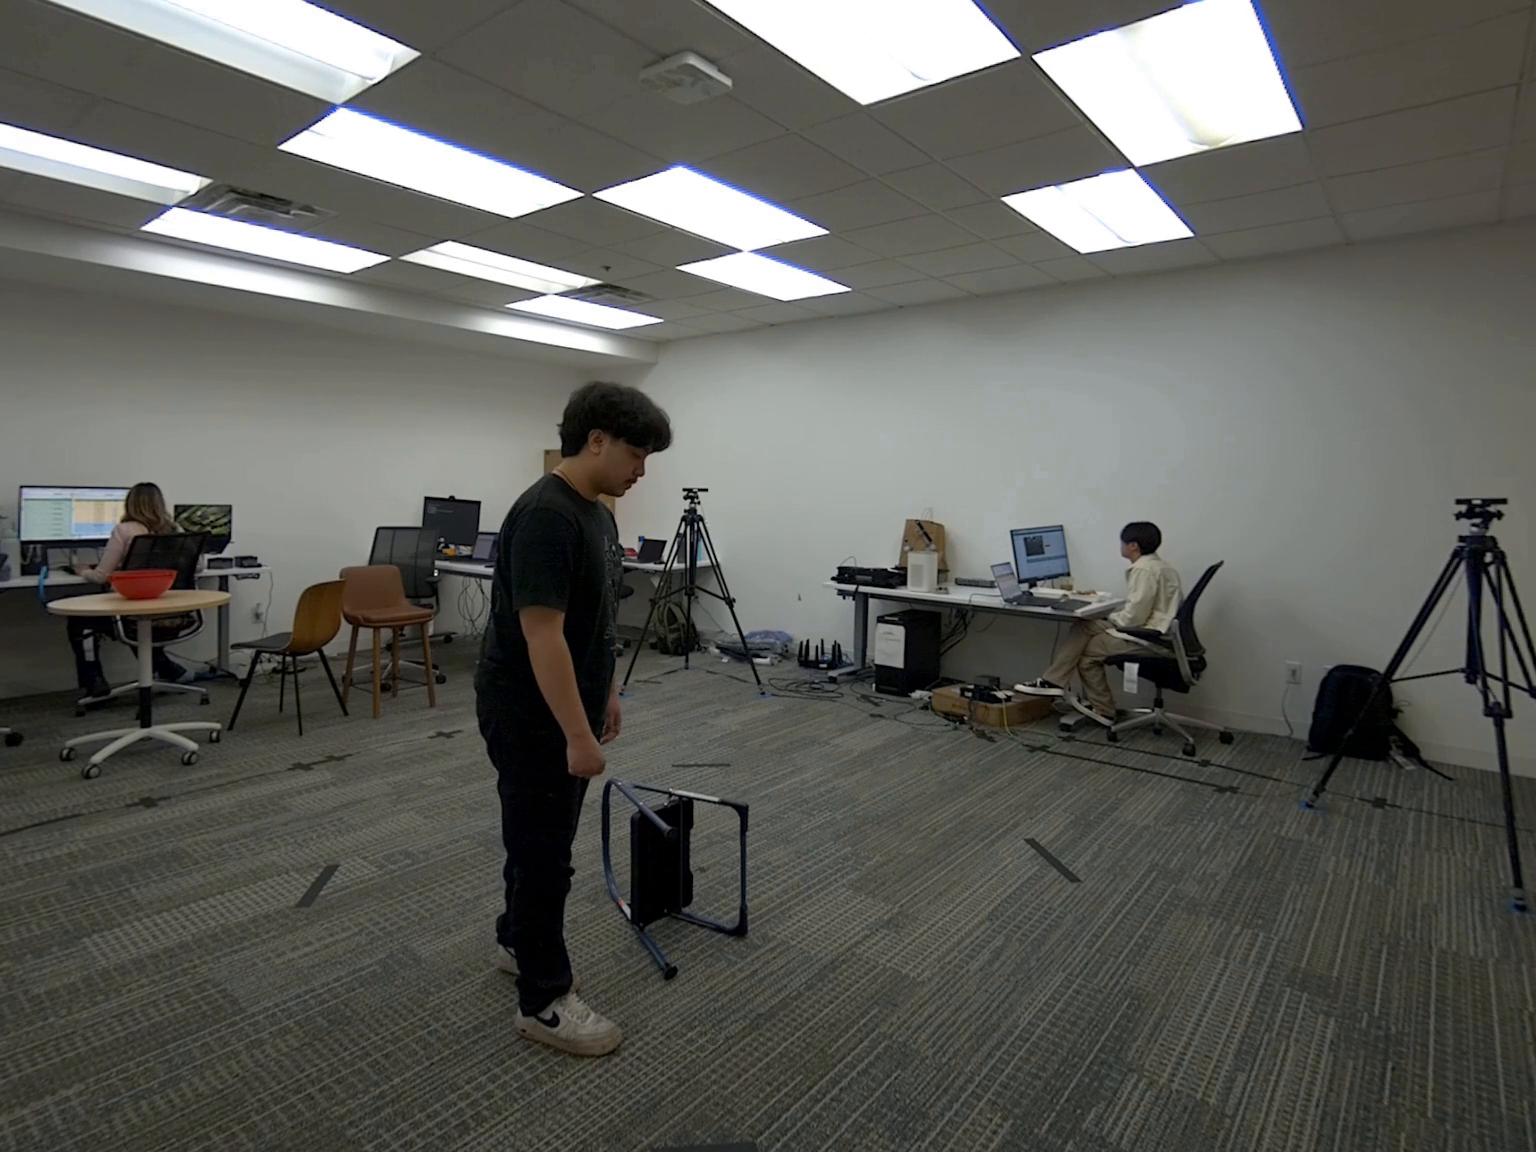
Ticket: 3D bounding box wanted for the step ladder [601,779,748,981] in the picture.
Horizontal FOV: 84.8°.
[{"bbox_3d":[-0.401,0.891,2.717,0.627,0.430,0.338,4,4,43],"label":"step ladder"}]
